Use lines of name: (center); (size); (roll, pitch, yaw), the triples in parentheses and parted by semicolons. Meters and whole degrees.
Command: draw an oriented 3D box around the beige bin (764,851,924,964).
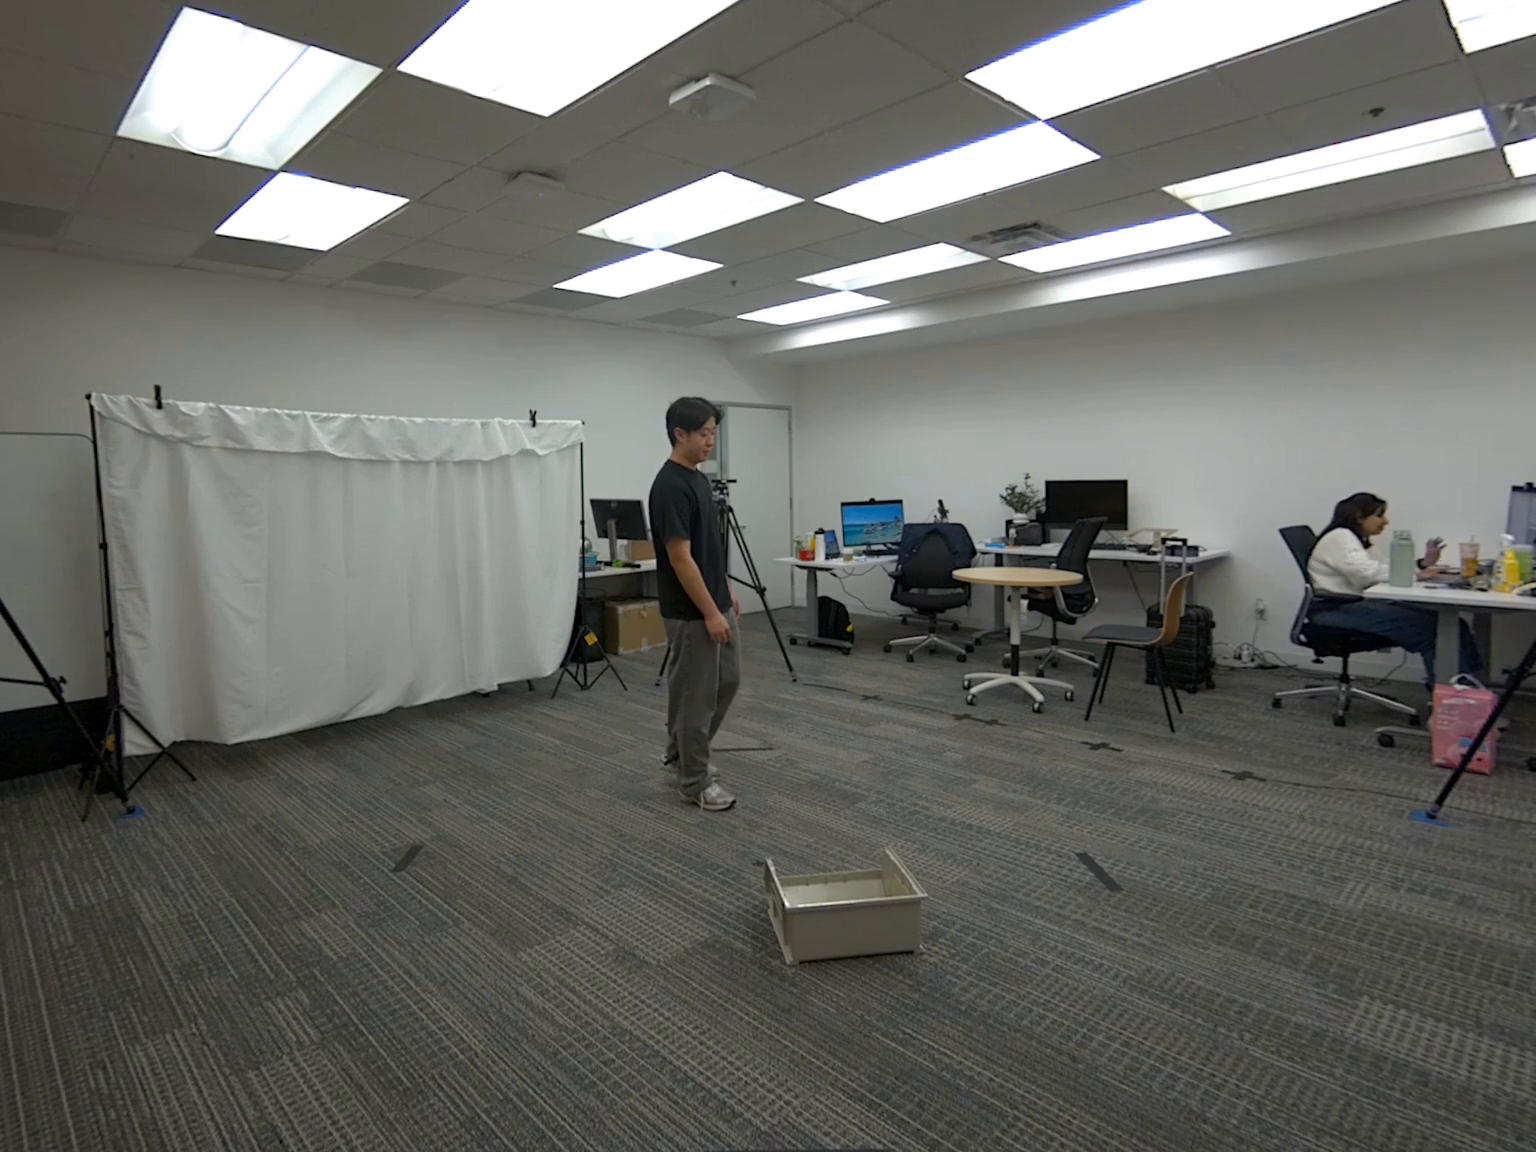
beige bin: (0.230, 1.009, 2.644); (0.419, 0.188, 0.382); (-1, 6, -9)
